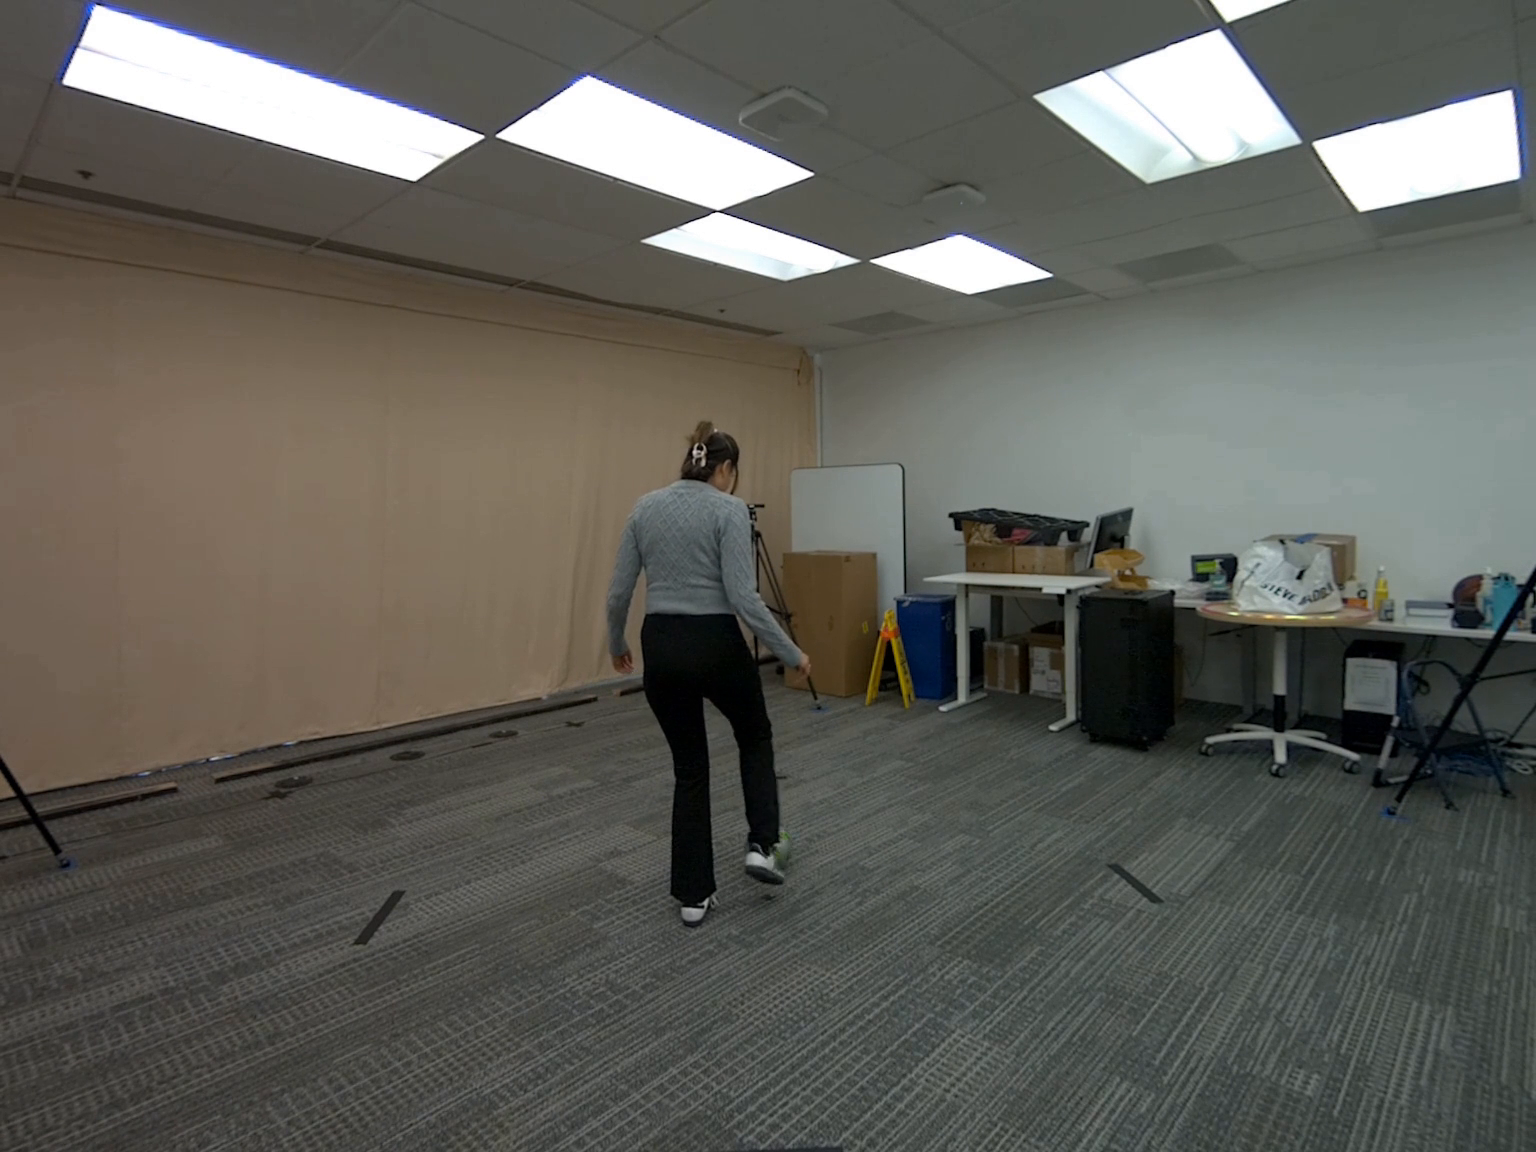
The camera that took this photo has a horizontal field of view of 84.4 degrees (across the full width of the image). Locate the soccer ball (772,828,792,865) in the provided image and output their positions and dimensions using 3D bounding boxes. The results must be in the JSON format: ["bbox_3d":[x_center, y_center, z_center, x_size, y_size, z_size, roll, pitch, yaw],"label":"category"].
[{"bbox_3d":[0.008,1.026,3.206,0.187,0.187,0.188,-1,4,-2],"label":"soccer ball"}]
